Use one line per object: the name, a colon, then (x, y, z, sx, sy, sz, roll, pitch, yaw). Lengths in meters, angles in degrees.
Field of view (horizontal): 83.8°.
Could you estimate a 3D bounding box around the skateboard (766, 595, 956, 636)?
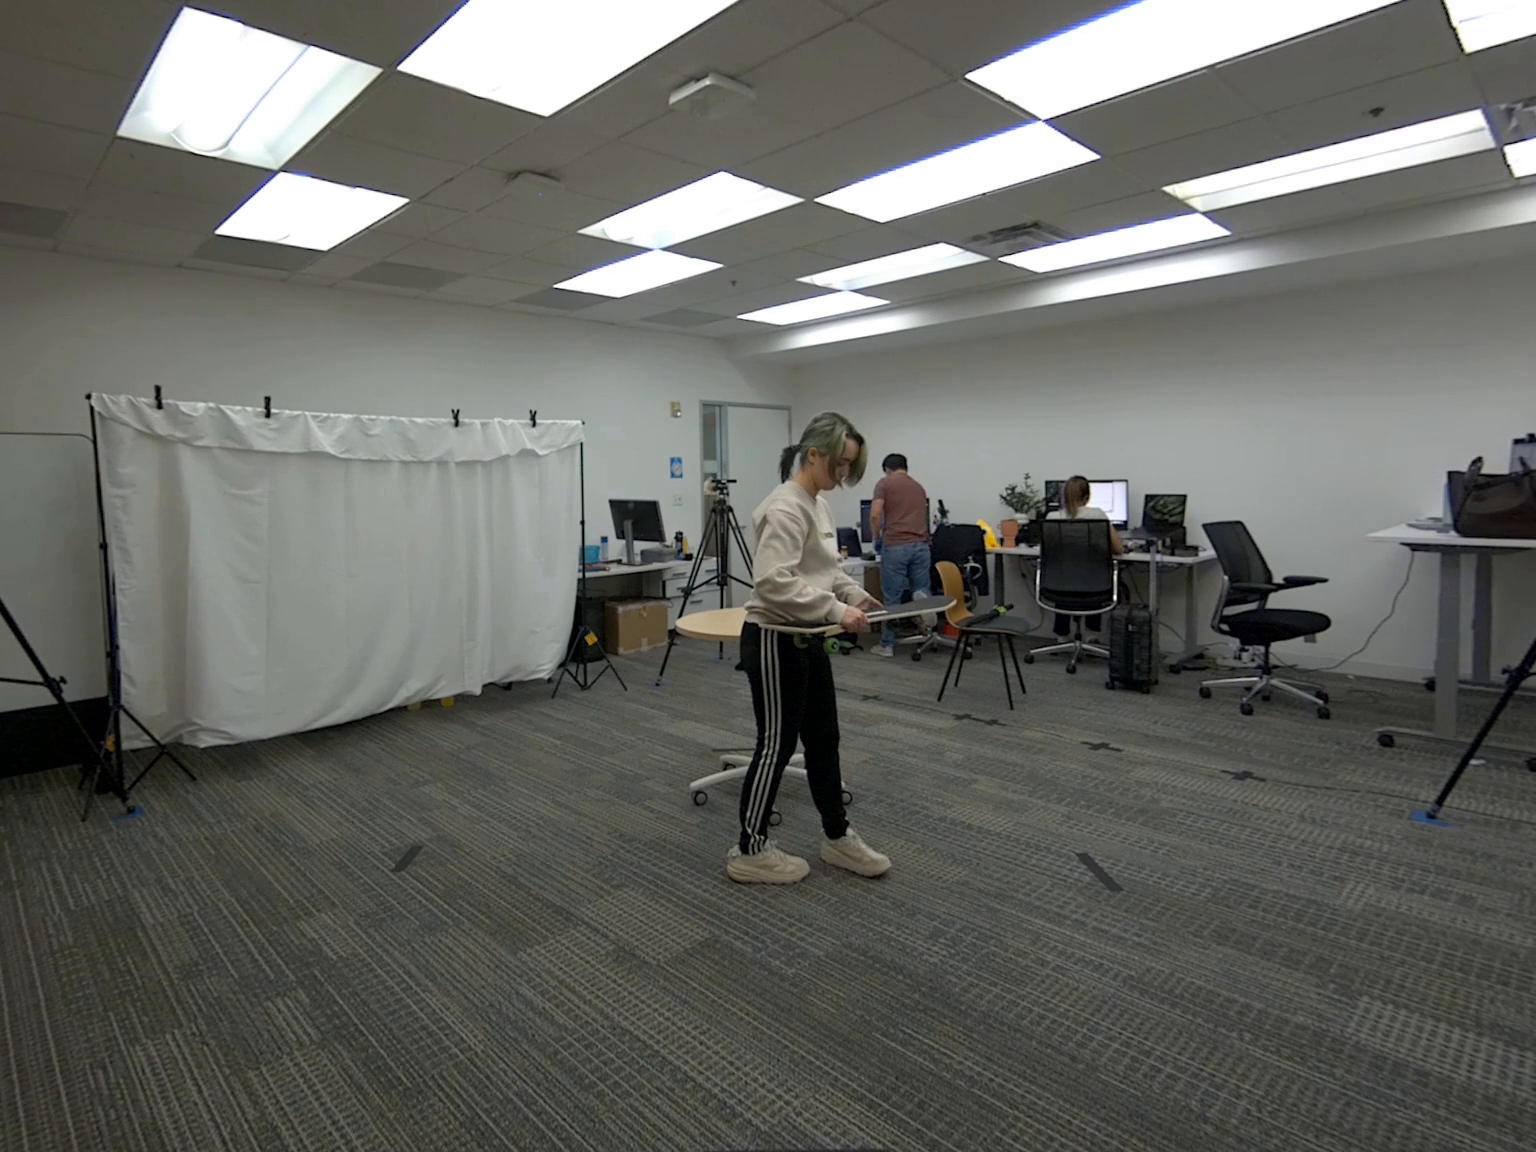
skateboard: (0.322, 0.167, 2.799, 0.767, 0.110, 0.198, -6, 5, -31)
